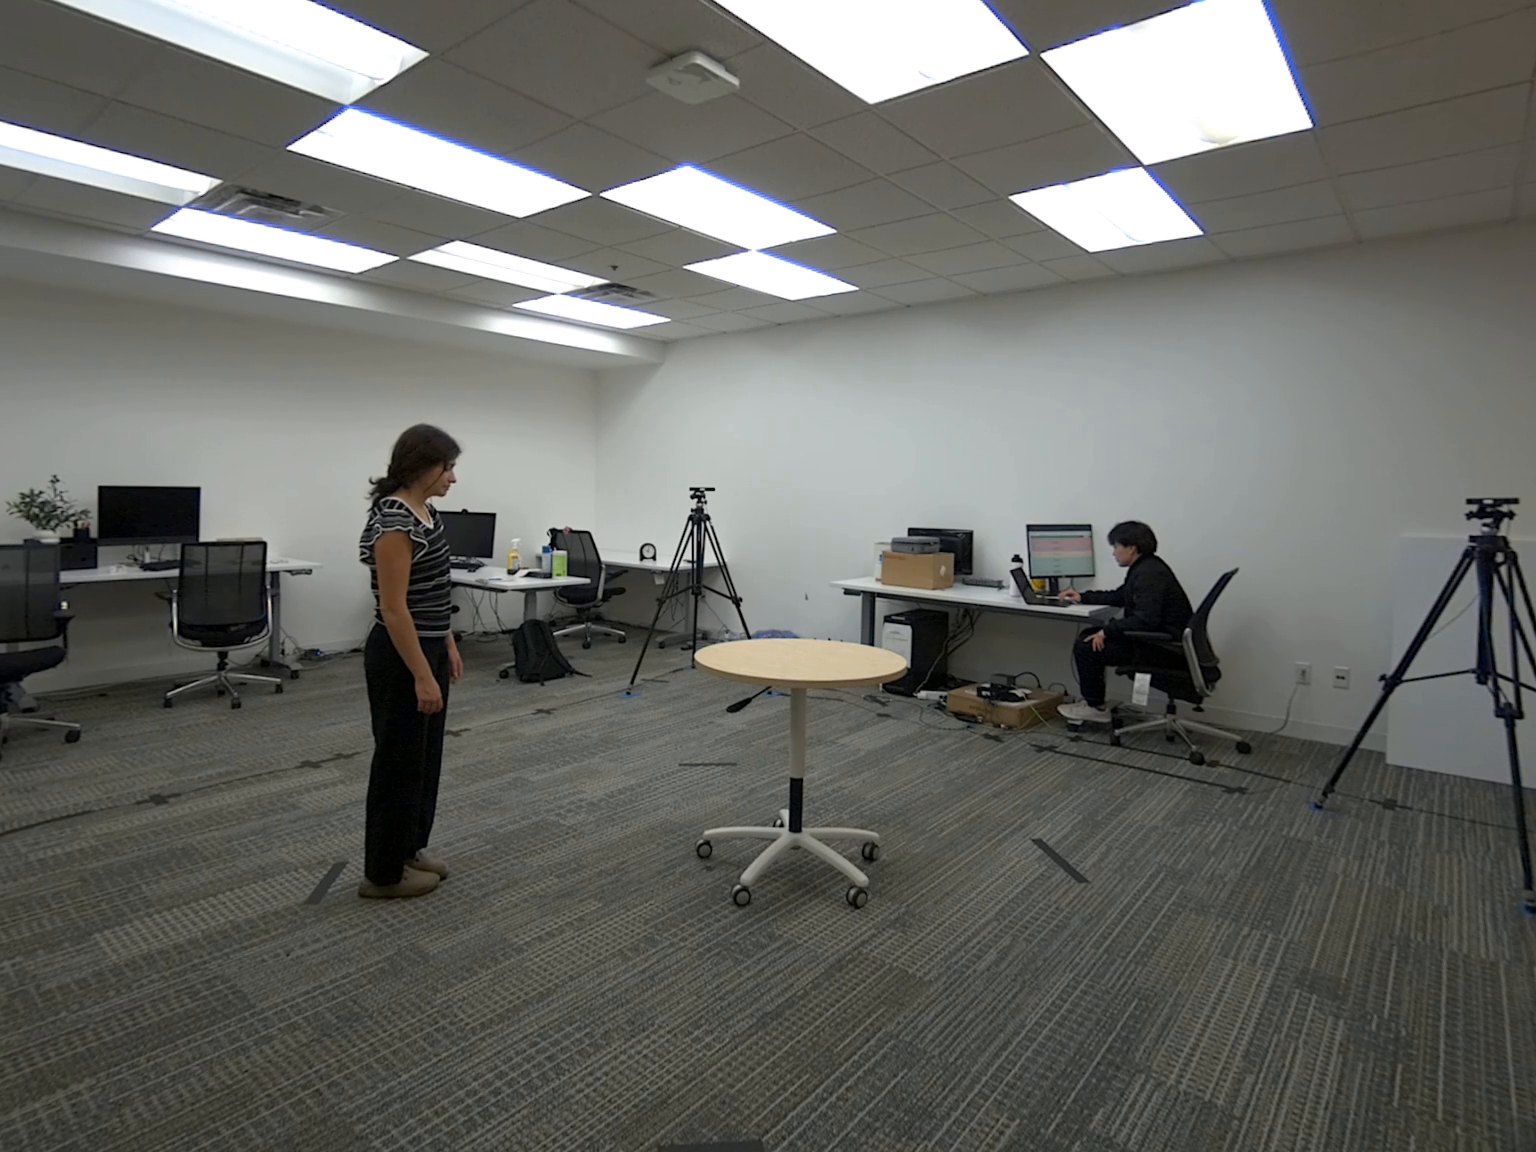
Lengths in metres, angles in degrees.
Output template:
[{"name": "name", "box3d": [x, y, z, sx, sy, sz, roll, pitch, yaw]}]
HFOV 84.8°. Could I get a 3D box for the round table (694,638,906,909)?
[{"name": "round table", "box3d": [0.096, 0.690, 3.103, 0.763, 0.791, 0.768, 1, 4, -2]}]
